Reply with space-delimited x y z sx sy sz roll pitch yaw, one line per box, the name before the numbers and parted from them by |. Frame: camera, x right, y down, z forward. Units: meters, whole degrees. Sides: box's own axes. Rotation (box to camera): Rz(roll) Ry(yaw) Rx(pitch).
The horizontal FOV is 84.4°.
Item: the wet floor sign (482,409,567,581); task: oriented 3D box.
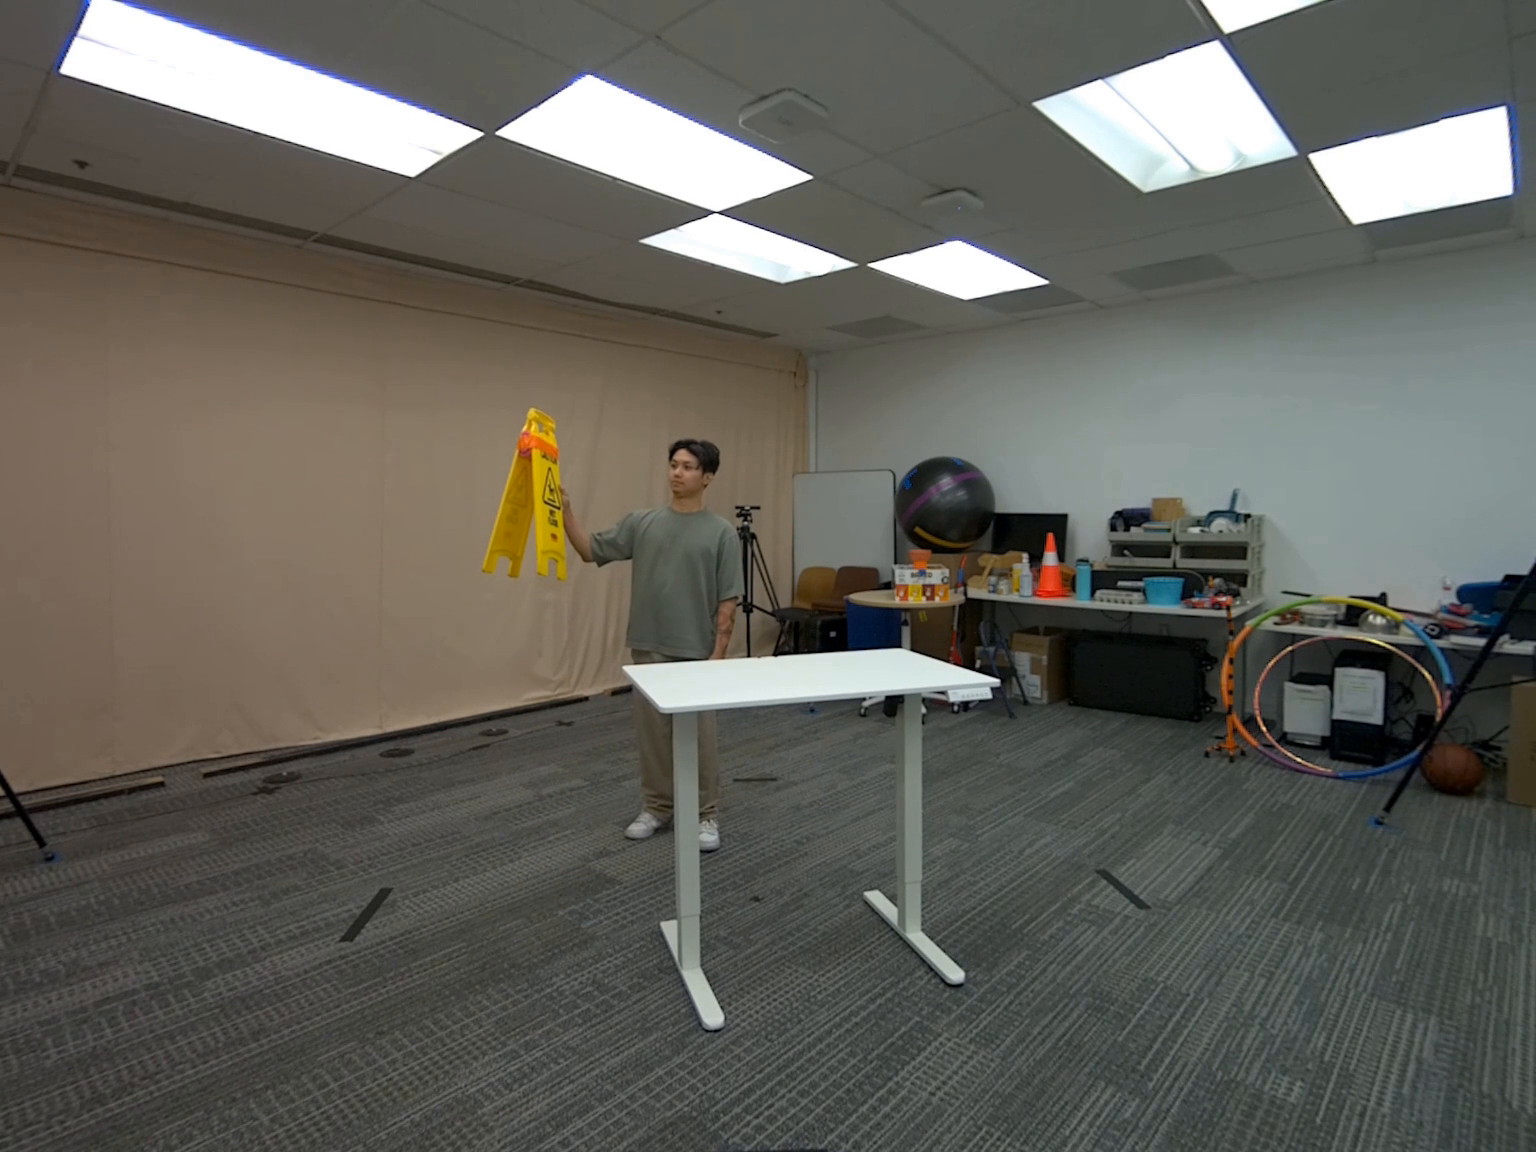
wet floor sign | -0.926 -0.321 3.331 0.294 0.648 0.277 2 -5 13
